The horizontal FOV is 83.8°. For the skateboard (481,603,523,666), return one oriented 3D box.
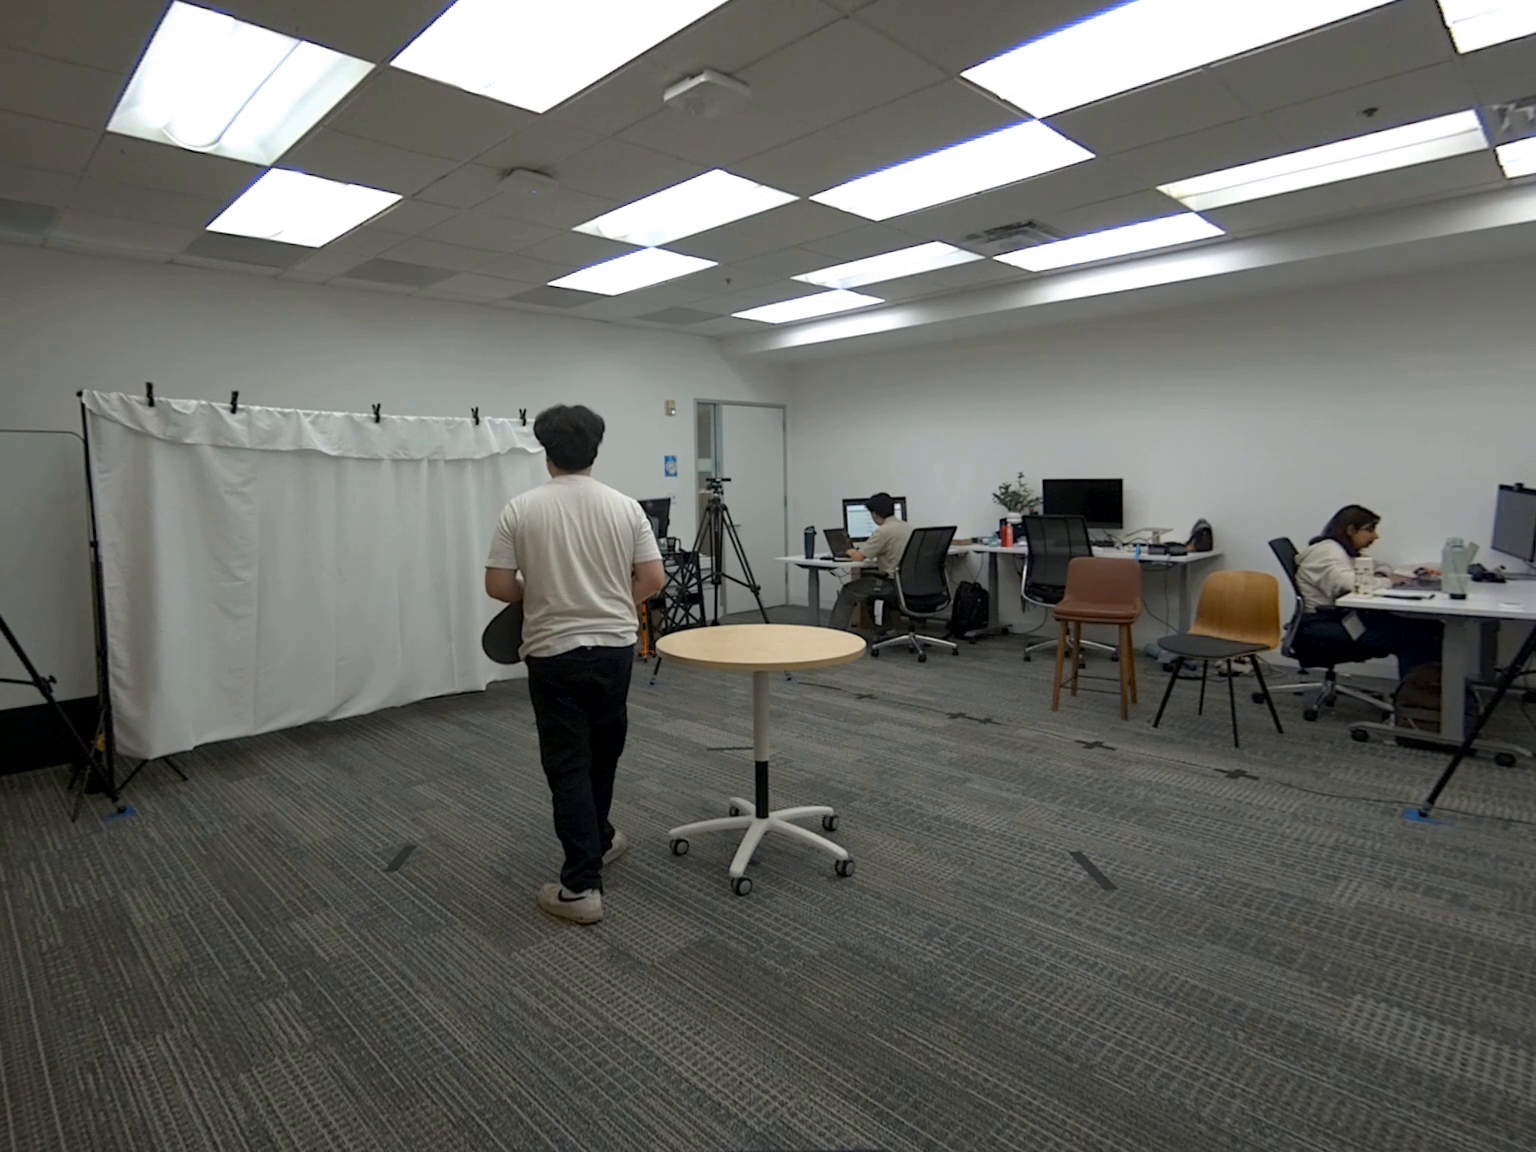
[{"bbox_3d":[-0.710,0.041,3.132,0.784,0.195,0.109,-46,-7,-26],"label":"skateboard"}]
